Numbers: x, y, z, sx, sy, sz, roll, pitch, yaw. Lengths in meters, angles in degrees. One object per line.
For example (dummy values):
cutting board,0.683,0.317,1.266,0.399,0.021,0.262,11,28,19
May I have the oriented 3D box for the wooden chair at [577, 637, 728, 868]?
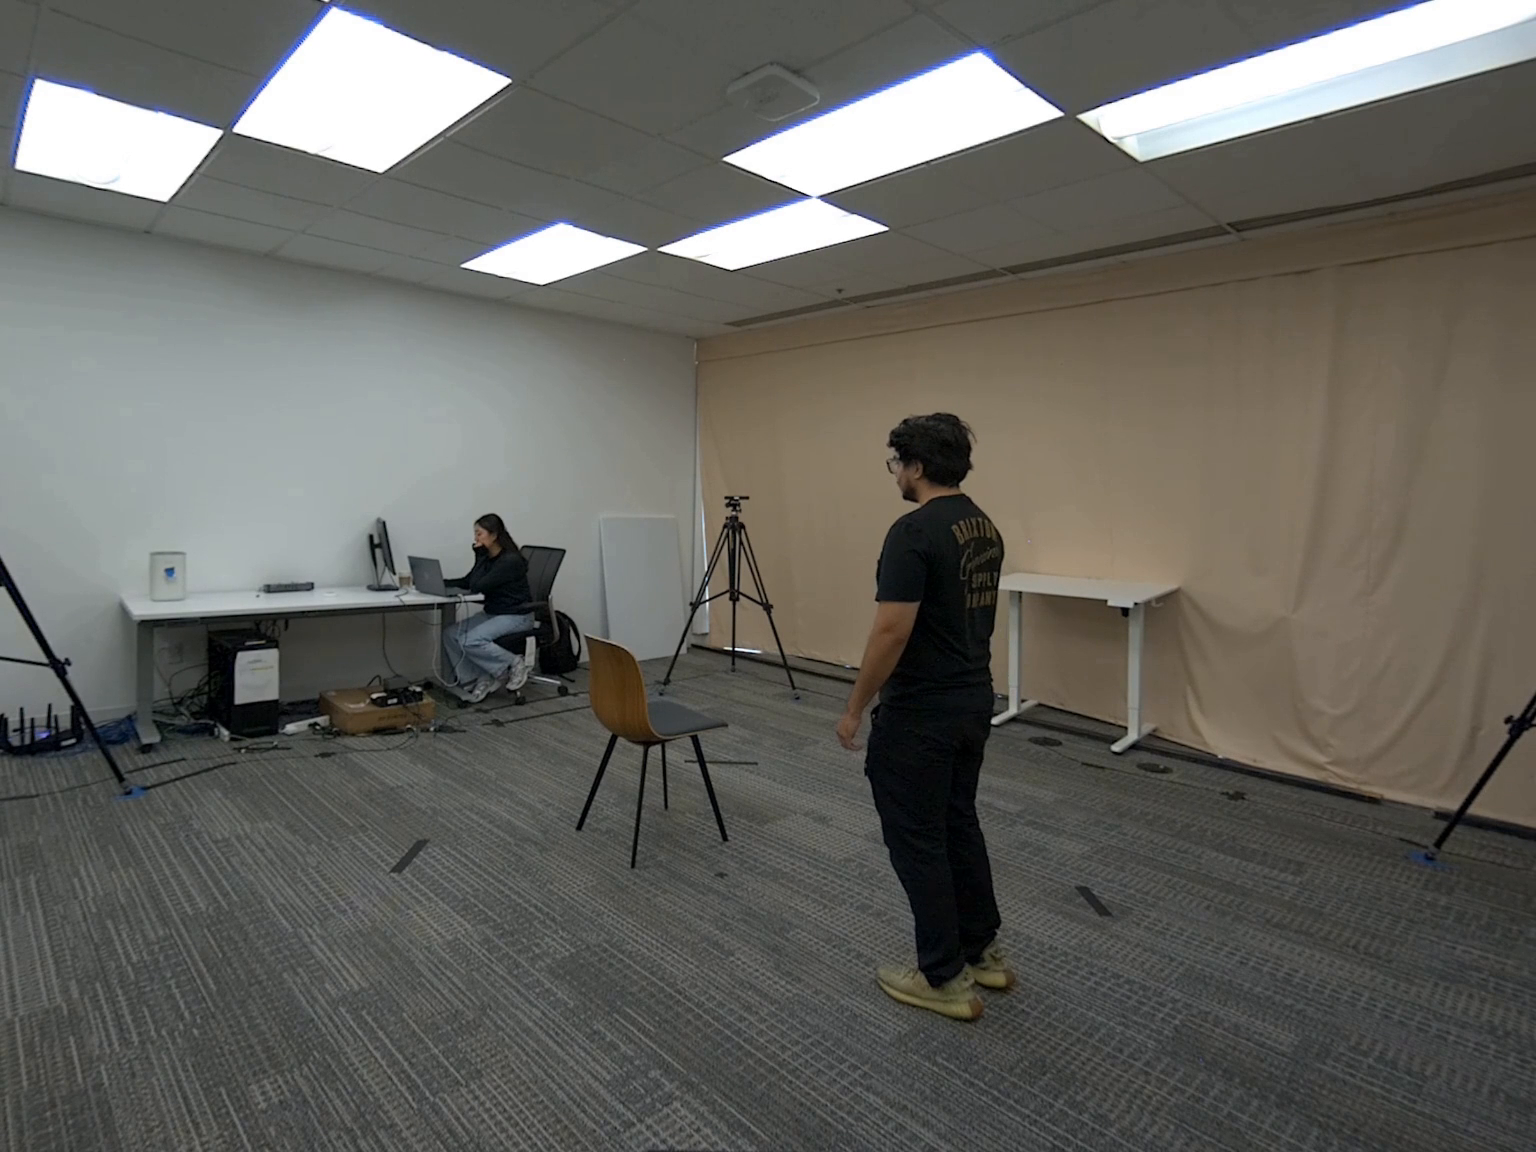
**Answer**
wooden chair,-0.463,0.639,3.424,0.512,0.873,0.490,-7,7,-39
